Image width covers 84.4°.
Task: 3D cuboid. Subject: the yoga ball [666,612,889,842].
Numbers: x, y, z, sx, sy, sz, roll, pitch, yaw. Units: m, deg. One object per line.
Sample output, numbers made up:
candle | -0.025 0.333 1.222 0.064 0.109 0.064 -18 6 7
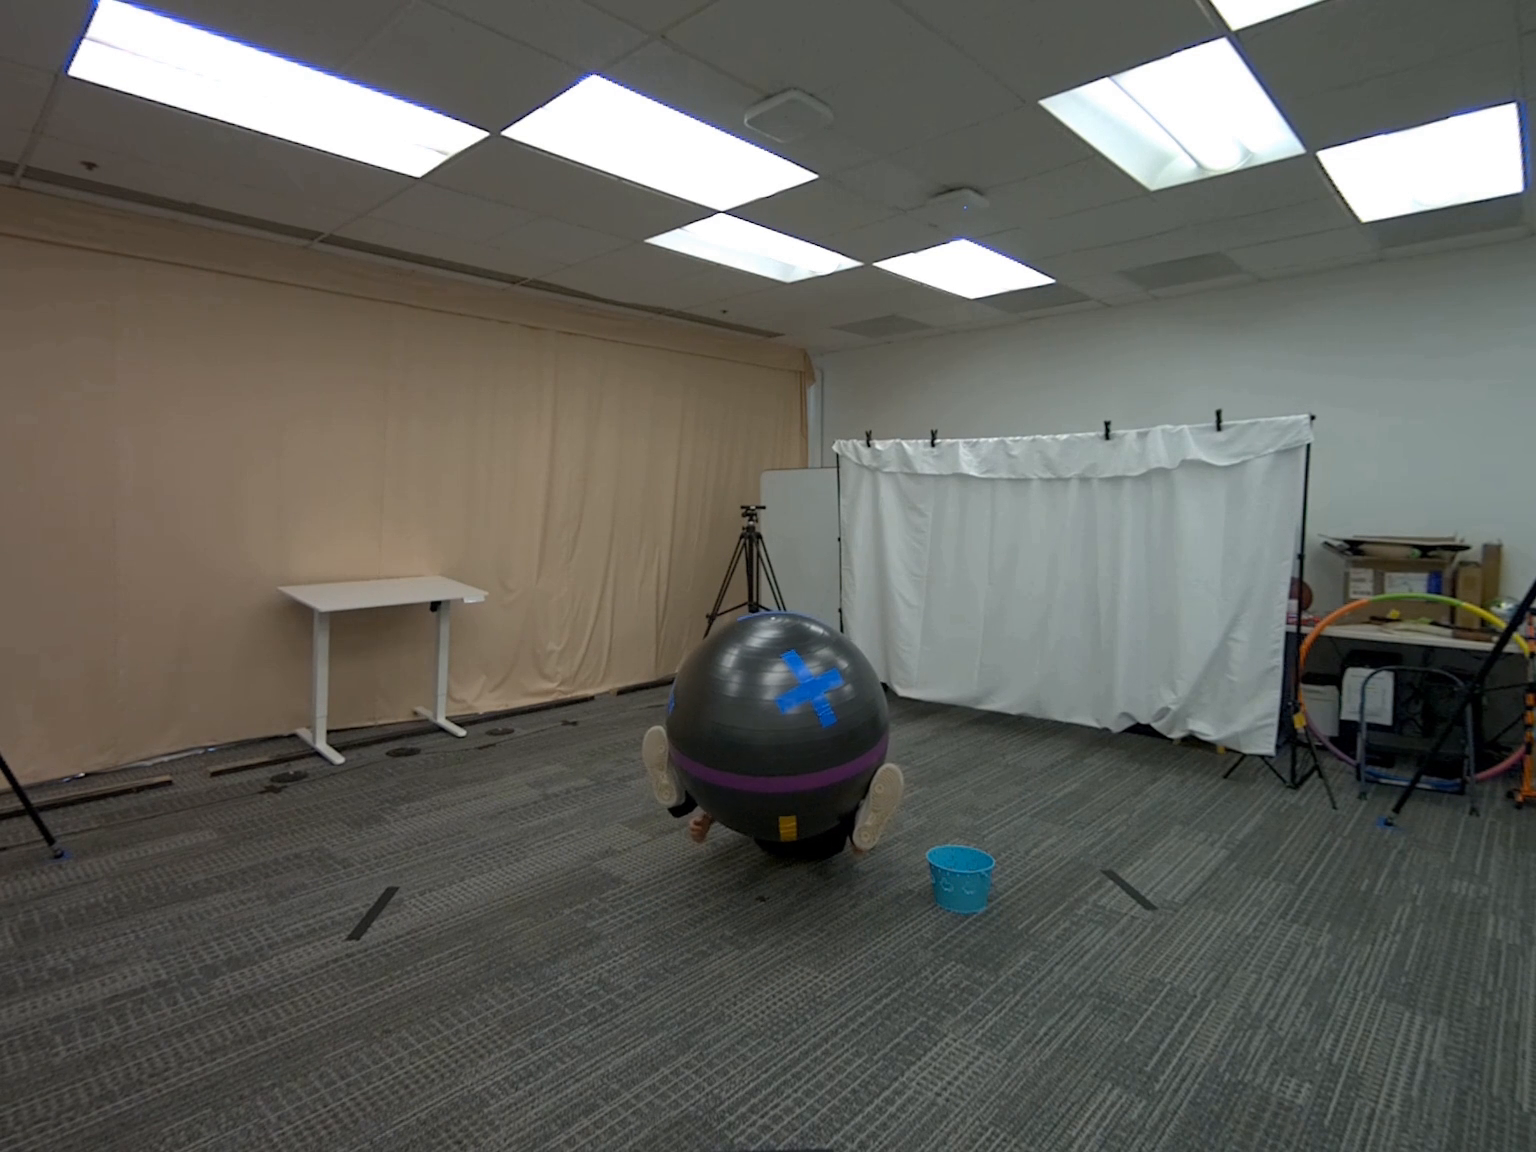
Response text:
yoga ball | 0.033 0.509 2.876 0.757 0.756 0.760 0 4 -2
